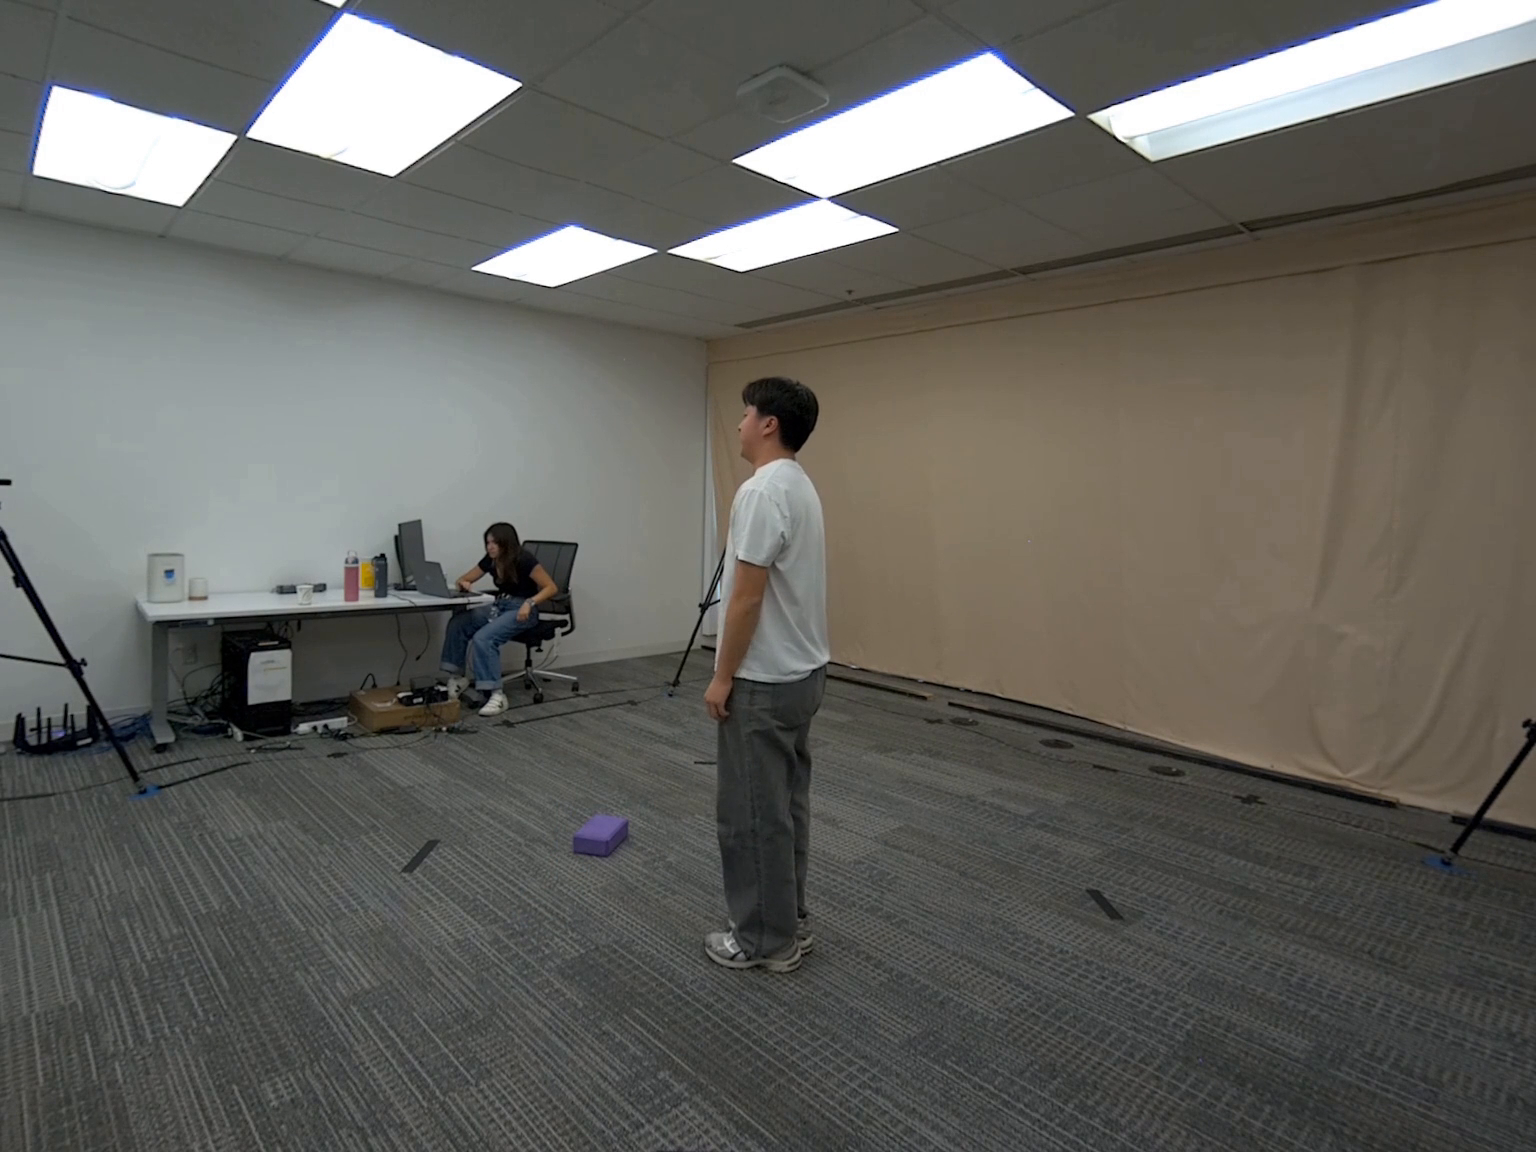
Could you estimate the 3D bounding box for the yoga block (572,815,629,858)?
[{"bbox_3d":[-0.674,1.036,3.356,0.151,0.076,0.227,4,6,13],"label":"yoga block"}]
